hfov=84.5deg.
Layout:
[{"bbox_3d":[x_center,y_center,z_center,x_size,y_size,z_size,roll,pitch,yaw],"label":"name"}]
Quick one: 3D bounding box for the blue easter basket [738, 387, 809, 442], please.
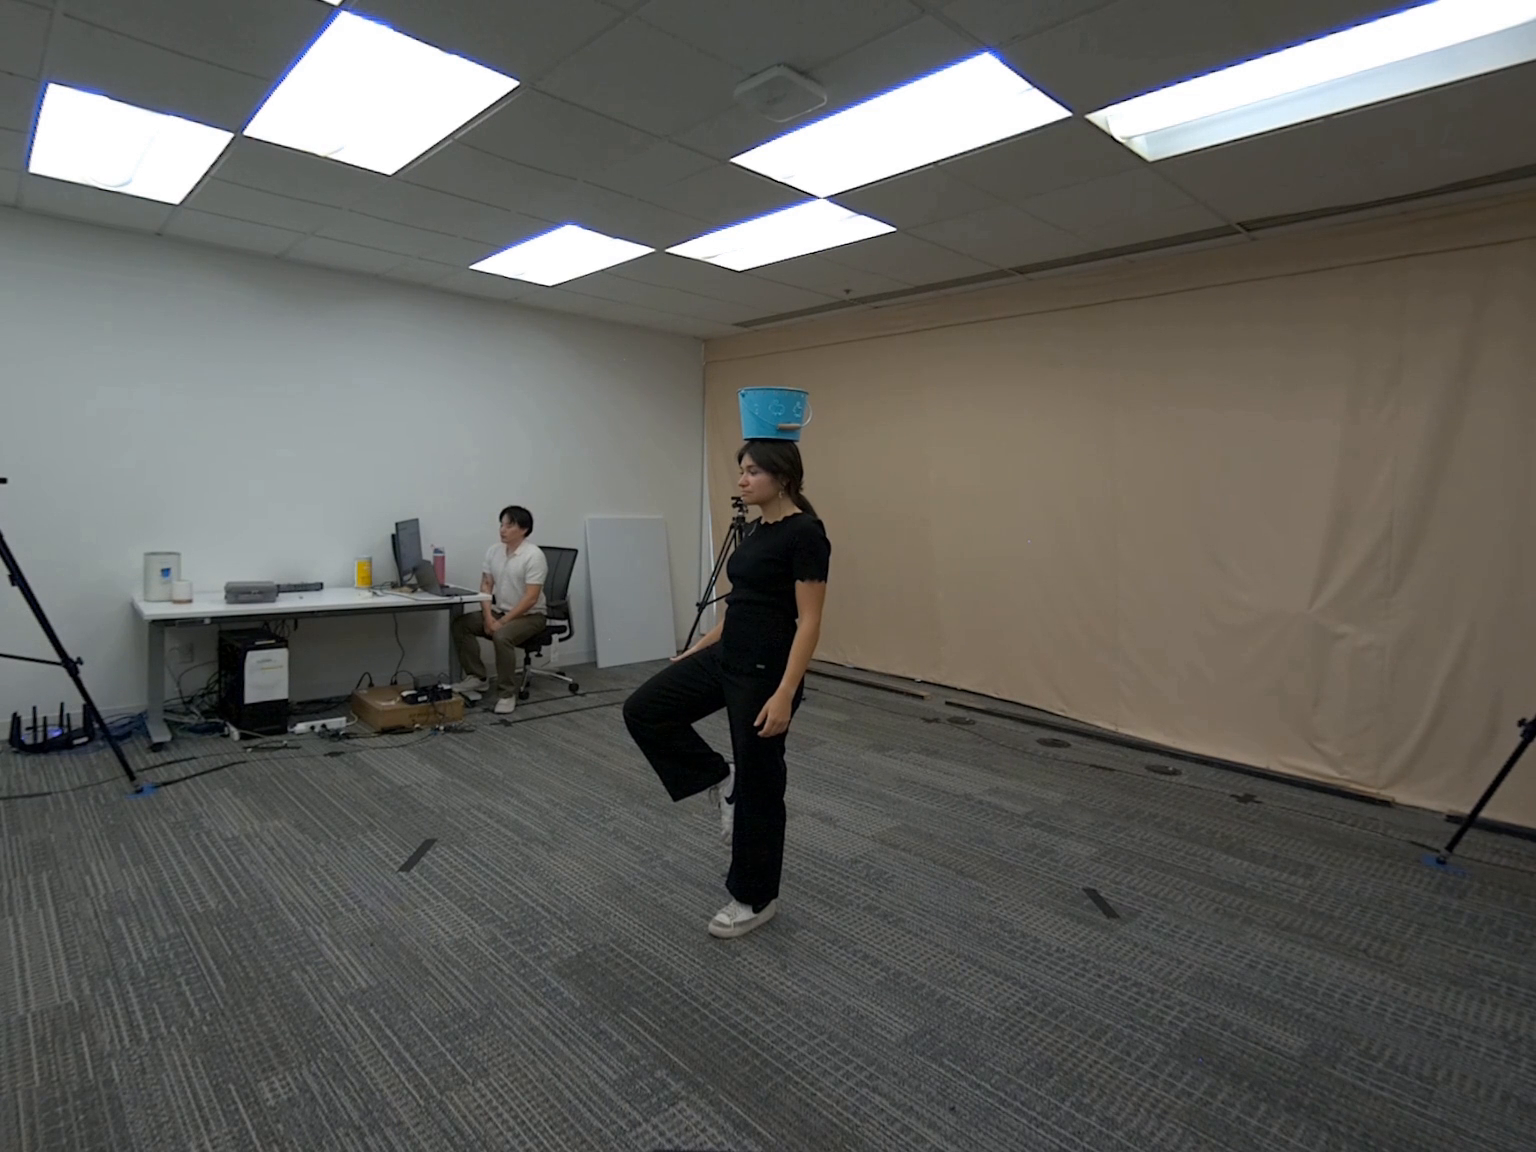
[{"bbox_3d":[0.017,-0.507,2.659,0.243,0.155,0.244,2,4,-1],"label":"blue easter basket"}]
